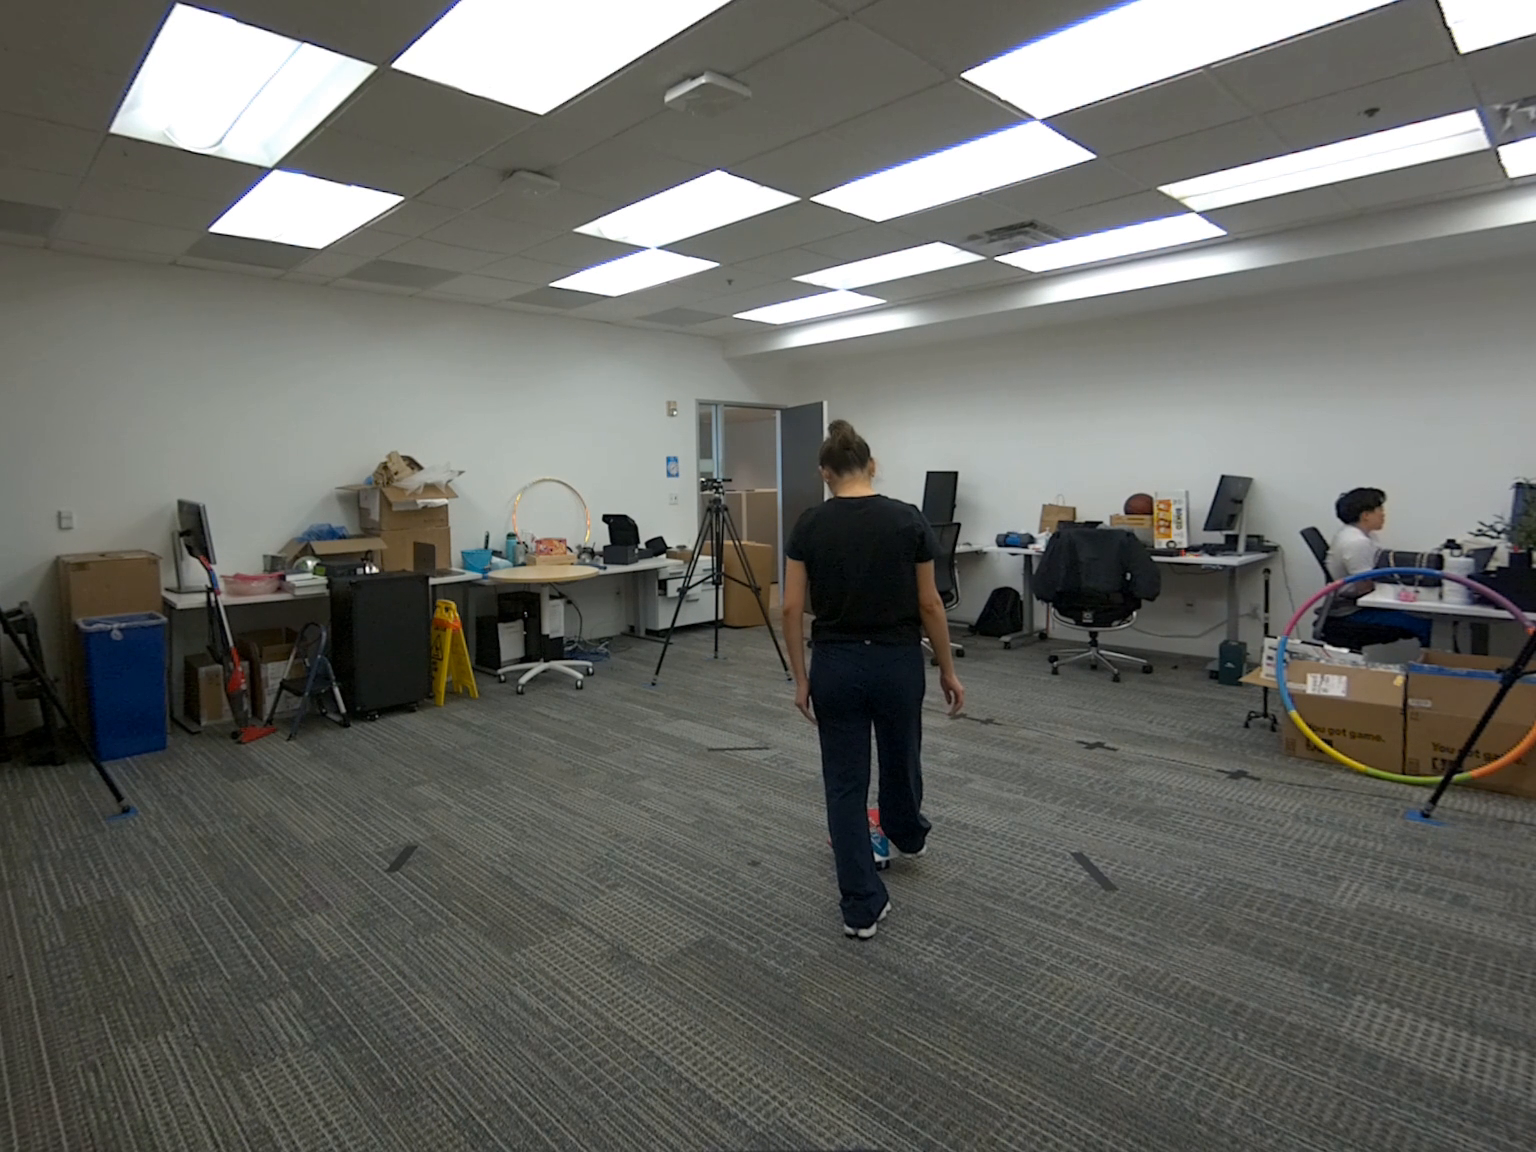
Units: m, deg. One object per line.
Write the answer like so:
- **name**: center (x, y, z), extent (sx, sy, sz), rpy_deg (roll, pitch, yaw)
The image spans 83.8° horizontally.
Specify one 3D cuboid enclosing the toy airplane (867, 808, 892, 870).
- **toy airplane**: center (0.386, 0.961, 3.143), extent (0.267, 0.156, 0.245), rpy_deg (2, 5, 36)
